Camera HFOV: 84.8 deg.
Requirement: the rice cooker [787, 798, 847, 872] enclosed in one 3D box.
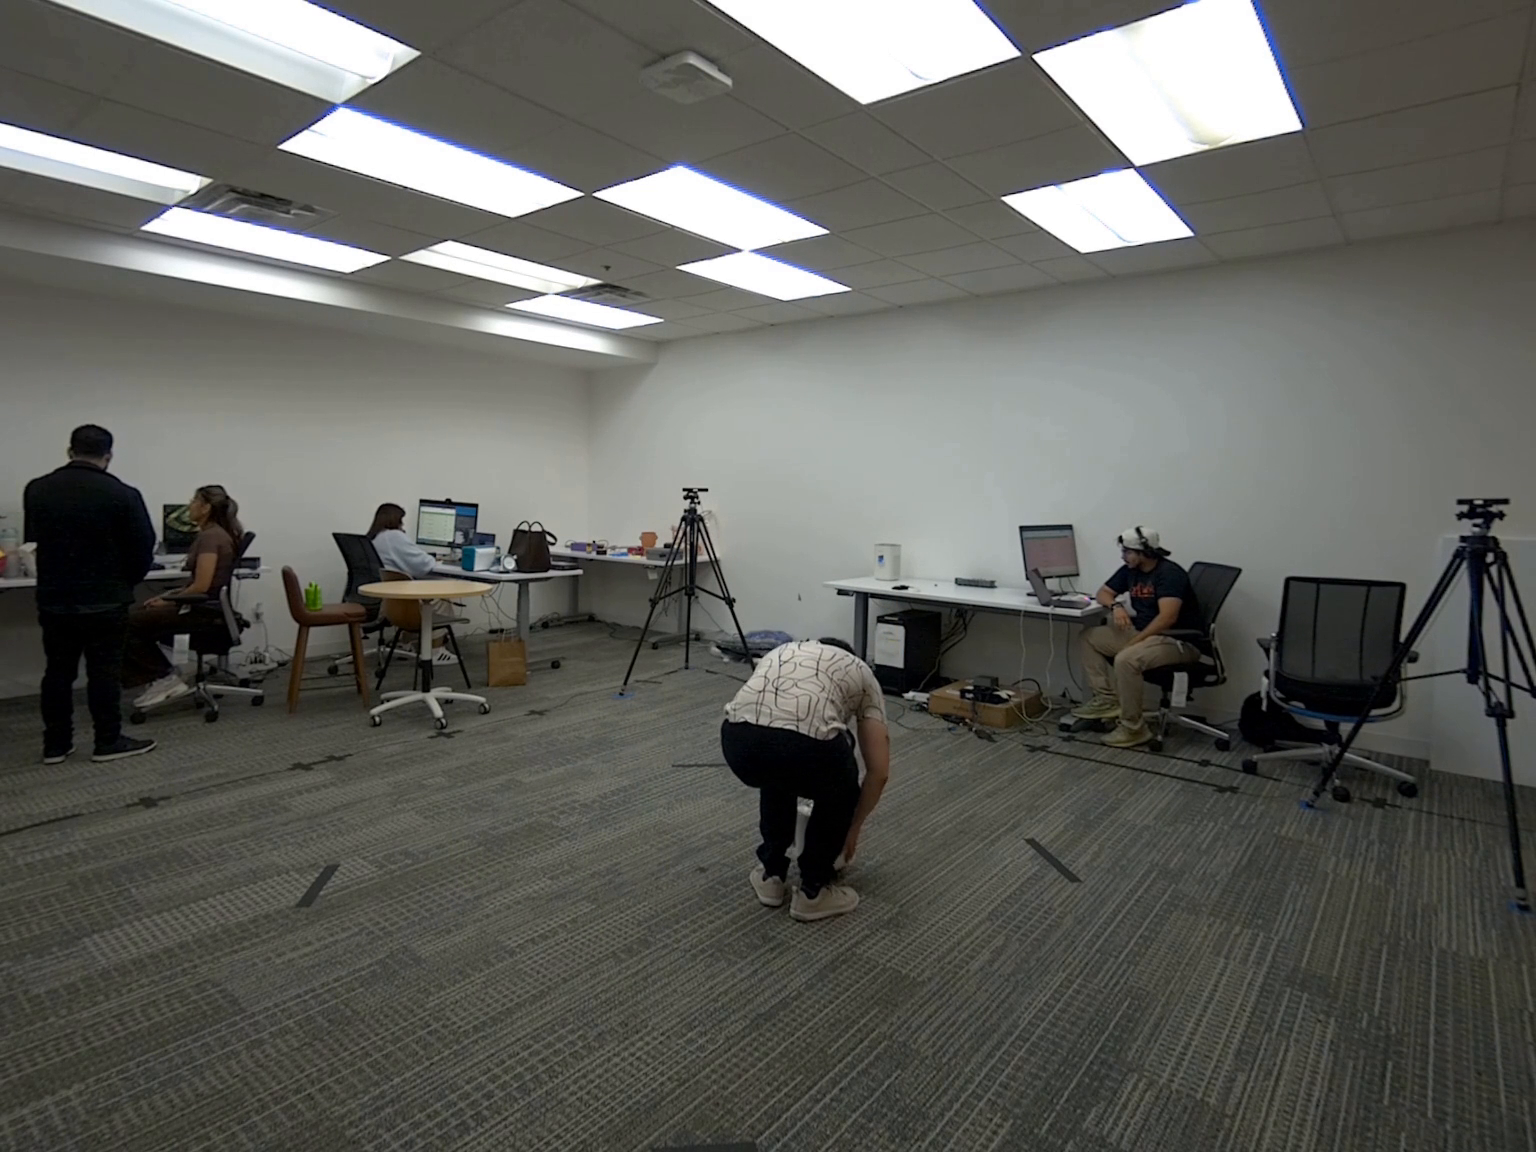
[{"bbox_3d":[0.207,0.926,3.121,0.222,0.233,0.216,4,-1,4],"label":"rice cooker"}]
